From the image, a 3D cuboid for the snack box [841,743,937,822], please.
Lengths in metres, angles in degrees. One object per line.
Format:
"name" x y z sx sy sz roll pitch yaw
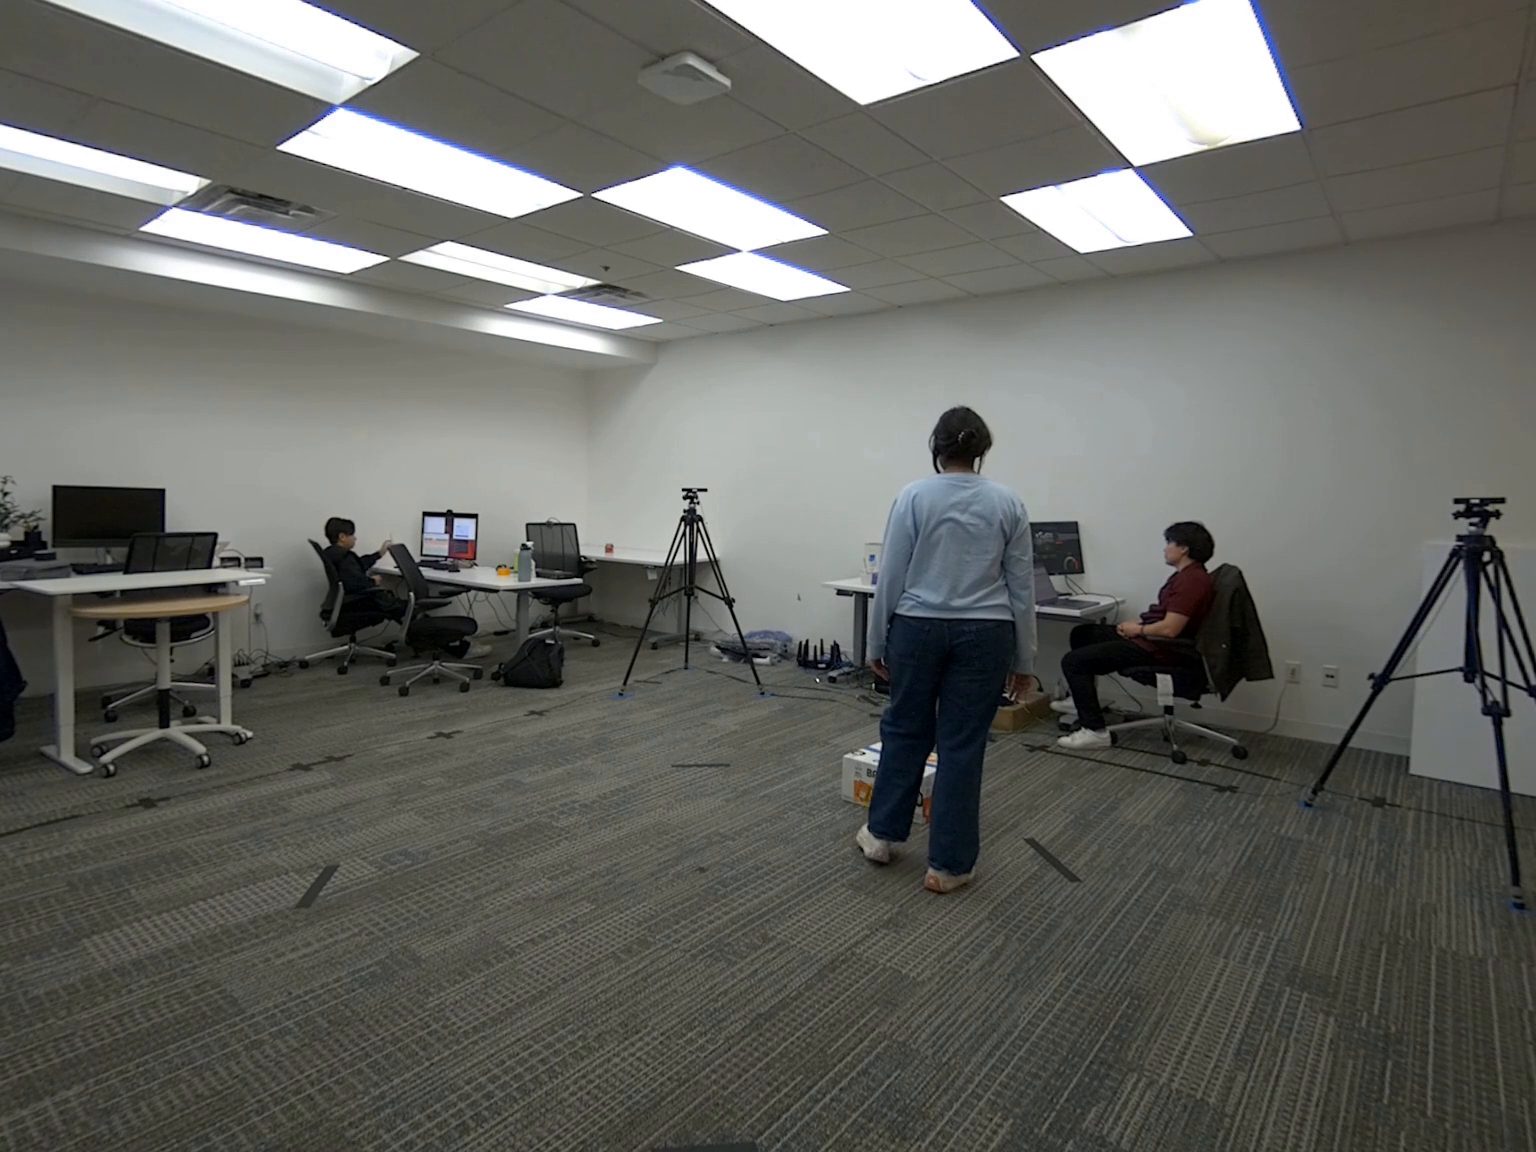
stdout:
"snack box" 0.589 0.911 3.823 0.419 0.205 0.330 6 7 40
